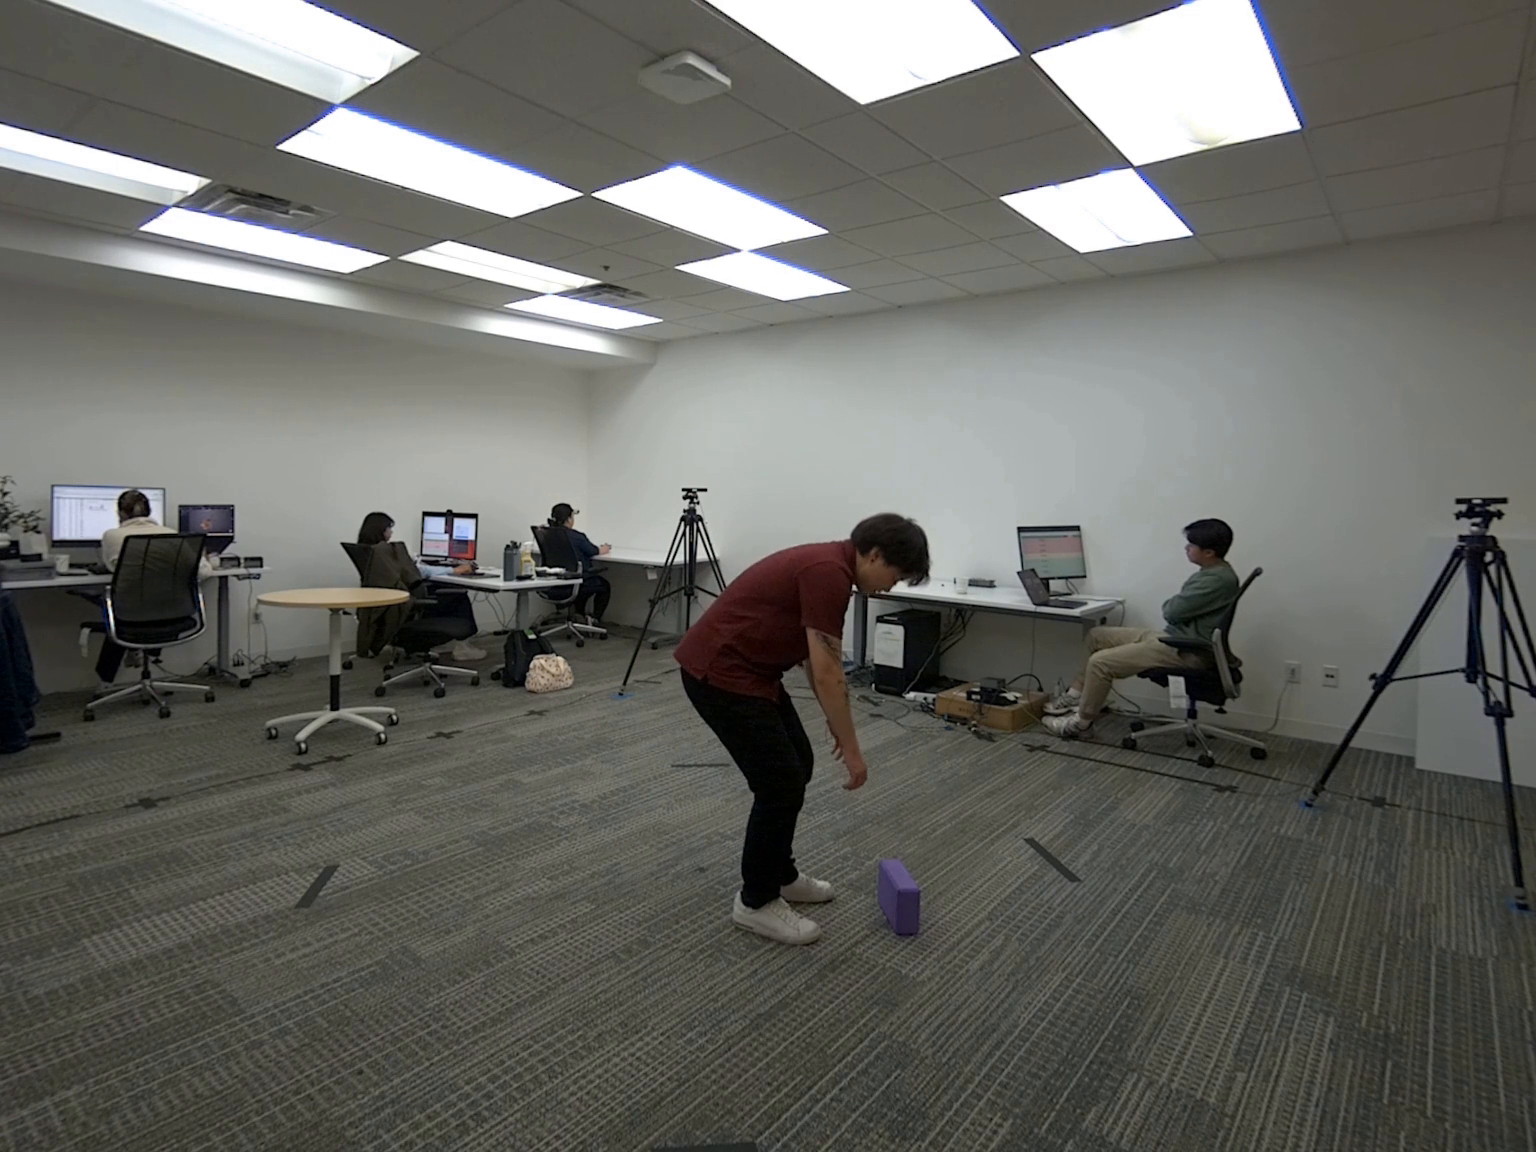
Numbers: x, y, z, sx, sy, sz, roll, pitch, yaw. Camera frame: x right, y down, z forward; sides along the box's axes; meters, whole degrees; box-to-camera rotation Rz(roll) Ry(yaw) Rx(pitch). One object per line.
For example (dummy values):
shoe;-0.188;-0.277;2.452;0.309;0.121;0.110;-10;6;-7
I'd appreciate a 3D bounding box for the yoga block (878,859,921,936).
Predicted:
yoga block;0.418;1.042;2.766;0.076;0.148;0.232;2;5;-8
